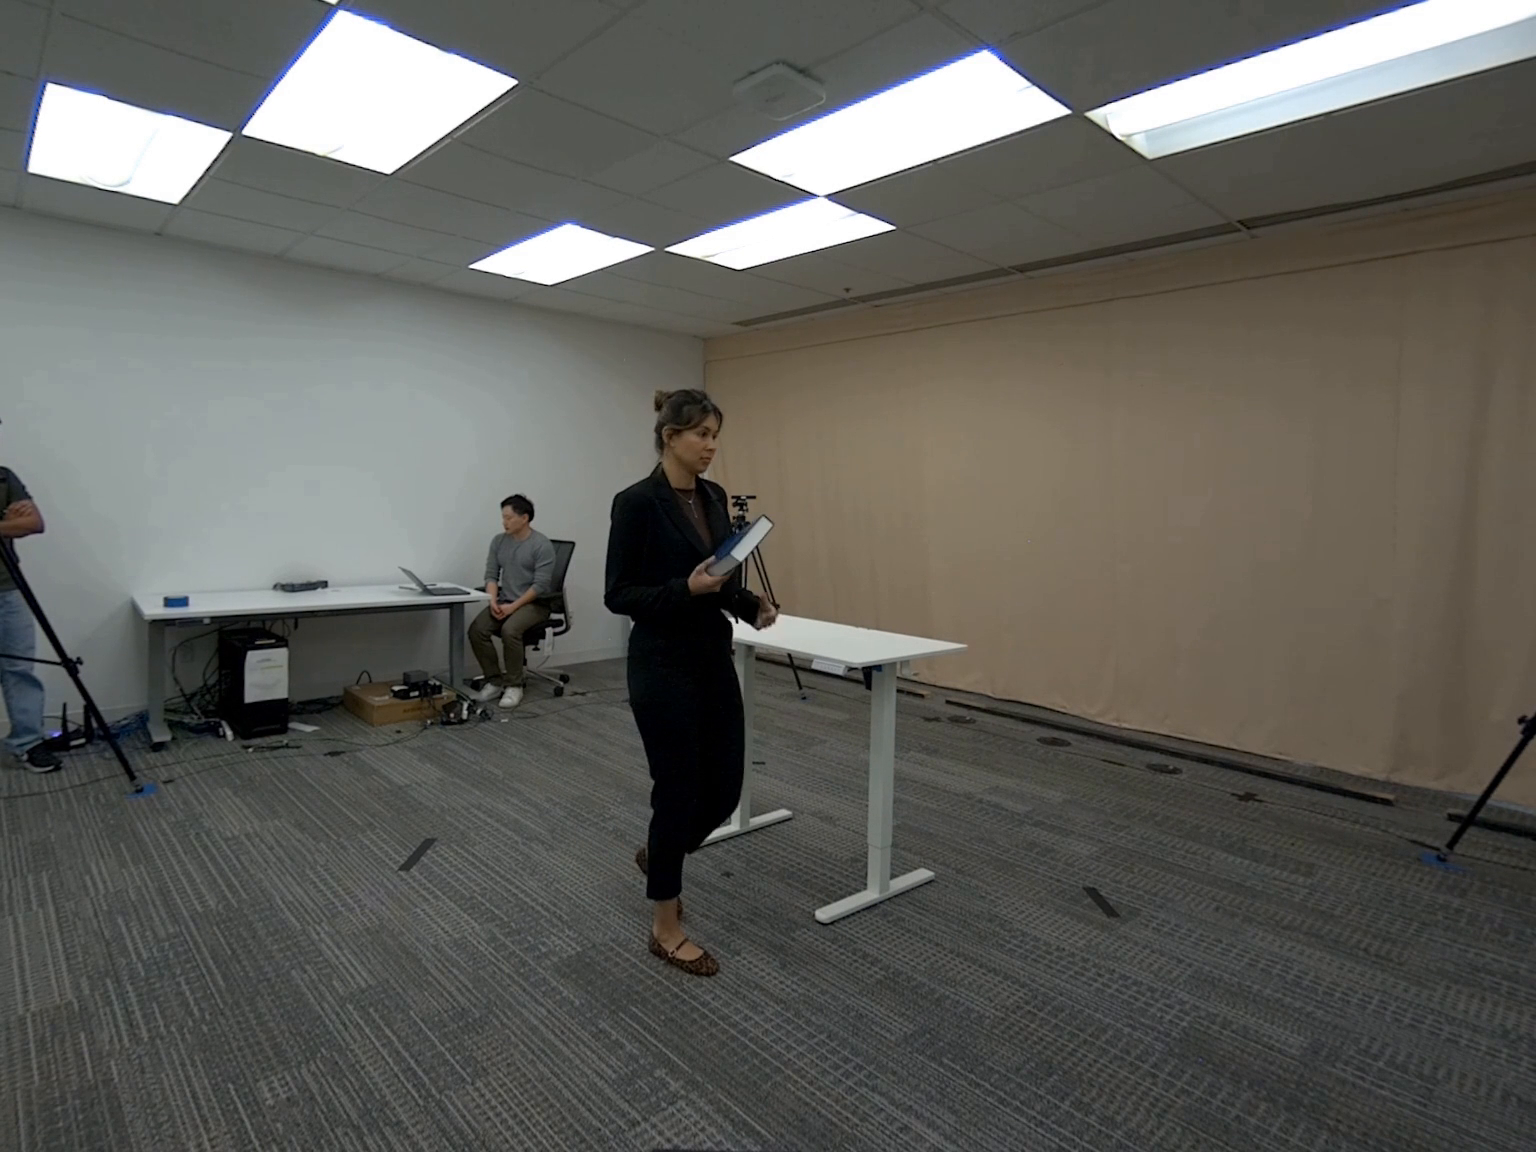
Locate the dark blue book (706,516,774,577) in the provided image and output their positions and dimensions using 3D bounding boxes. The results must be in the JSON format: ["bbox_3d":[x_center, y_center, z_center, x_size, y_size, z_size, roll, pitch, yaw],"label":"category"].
[{"bbox_3d":[-0.106,-0.066,2.290,0.163,0.045,0.246,-48,9,-33],"label":"dark blue book"}]
